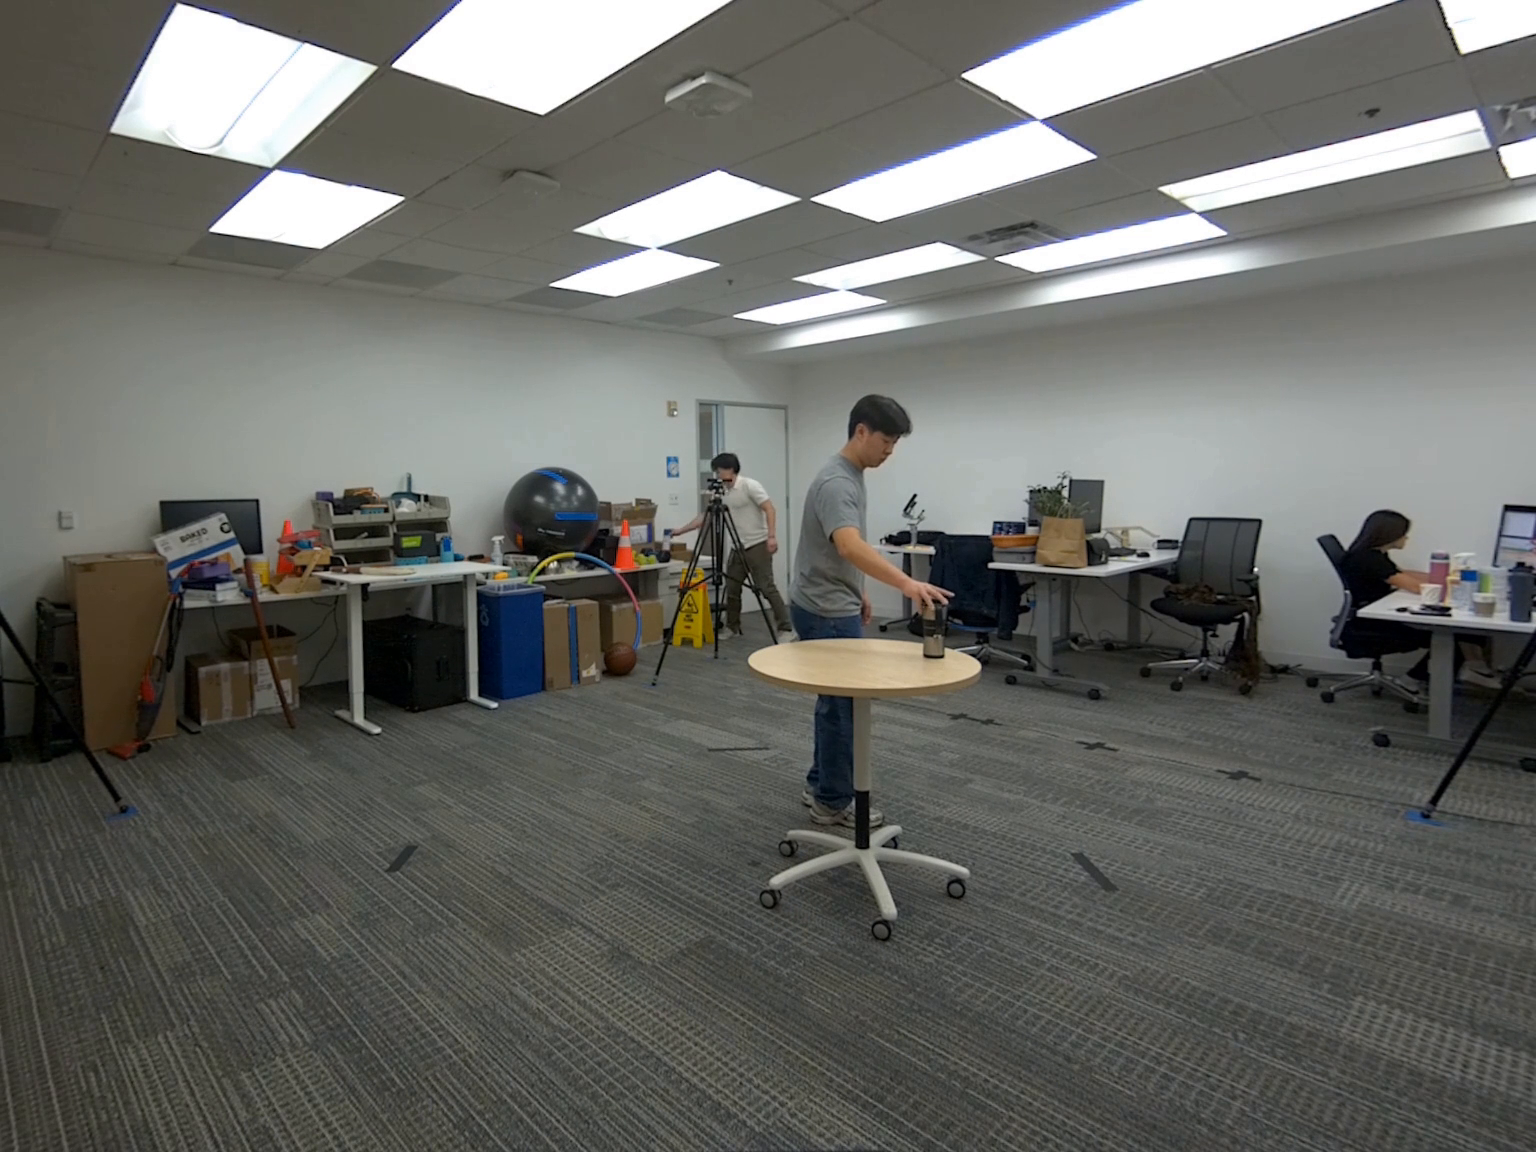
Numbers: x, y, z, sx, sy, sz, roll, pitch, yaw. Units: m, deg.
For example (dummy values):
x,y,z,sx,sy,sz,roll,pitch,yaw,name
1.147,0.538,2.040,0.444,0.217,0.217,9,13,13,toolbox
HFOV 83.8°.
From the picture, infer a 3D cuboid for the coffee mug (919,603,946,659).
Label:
x,y,z,sx,sy,sz,roll,pitch,yaw,name
0.545,0.181,2.893,0.090,0.202,0.120,3,3,20,coffee mug
